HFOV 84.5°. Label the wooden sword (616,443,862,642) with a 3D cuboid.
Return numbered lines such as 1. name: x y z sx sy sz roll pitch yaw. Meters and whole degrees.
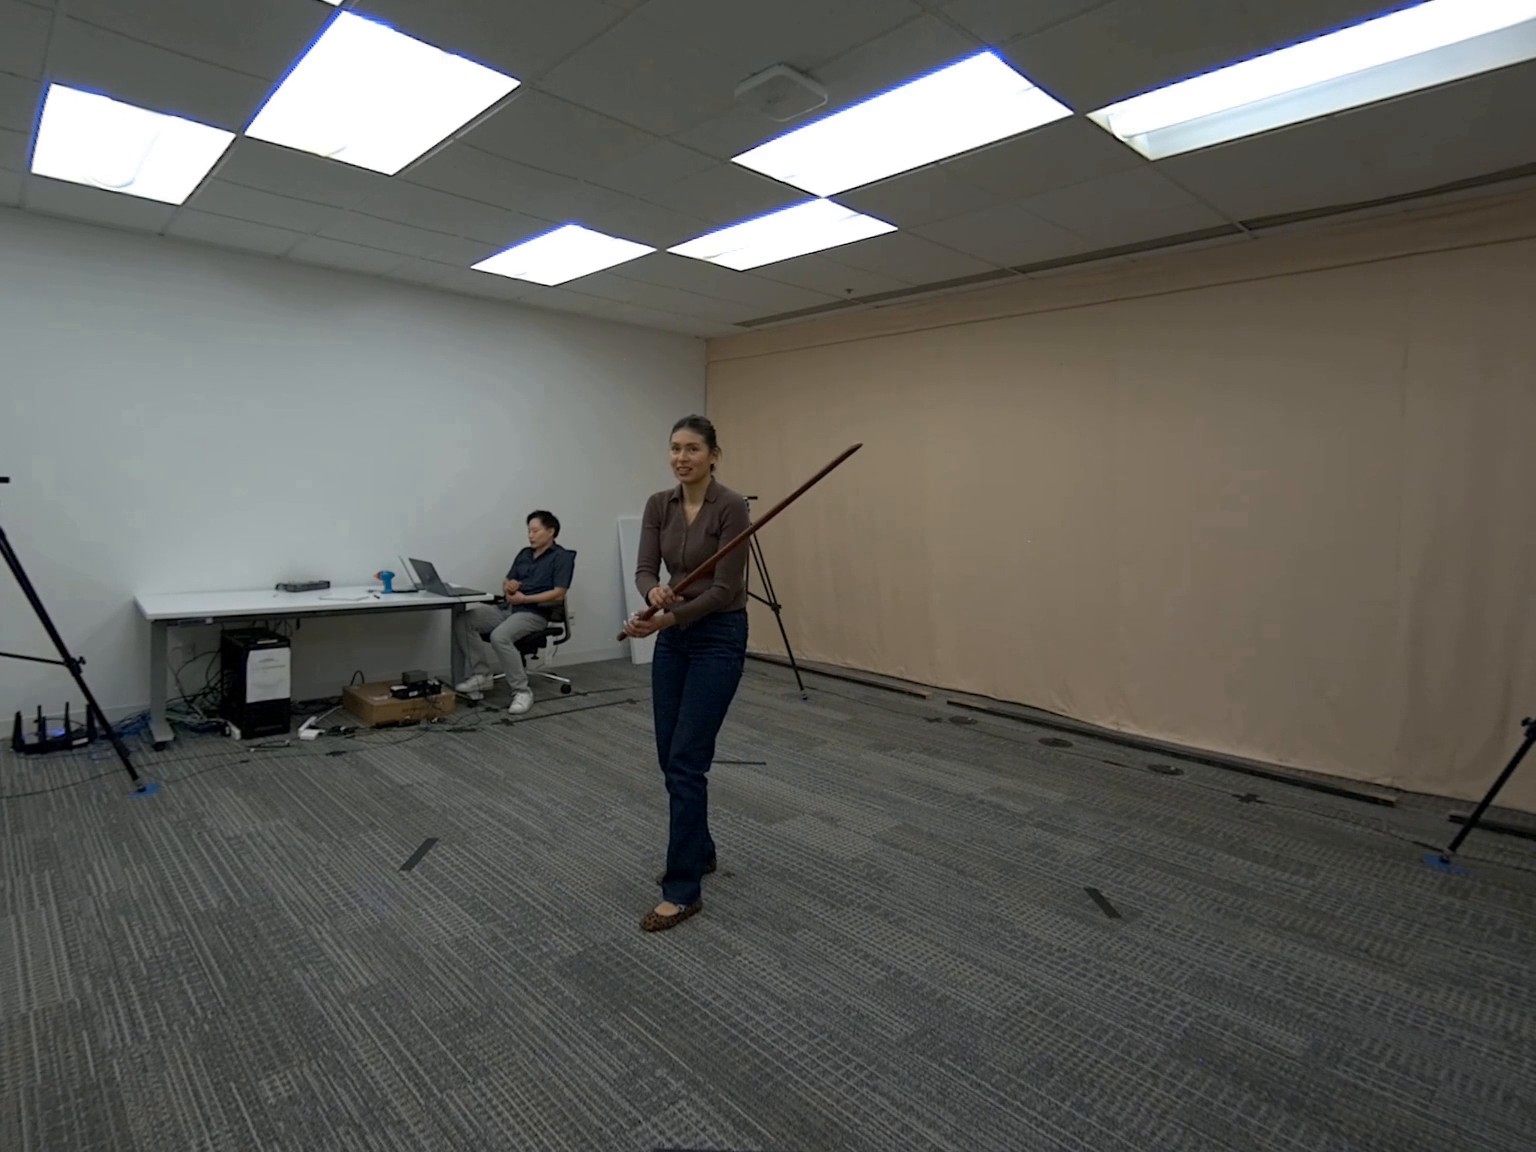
1. wooden sword: -0.109 -0.078 2.569 1.028 0.024 0.051 -38 -7 20
